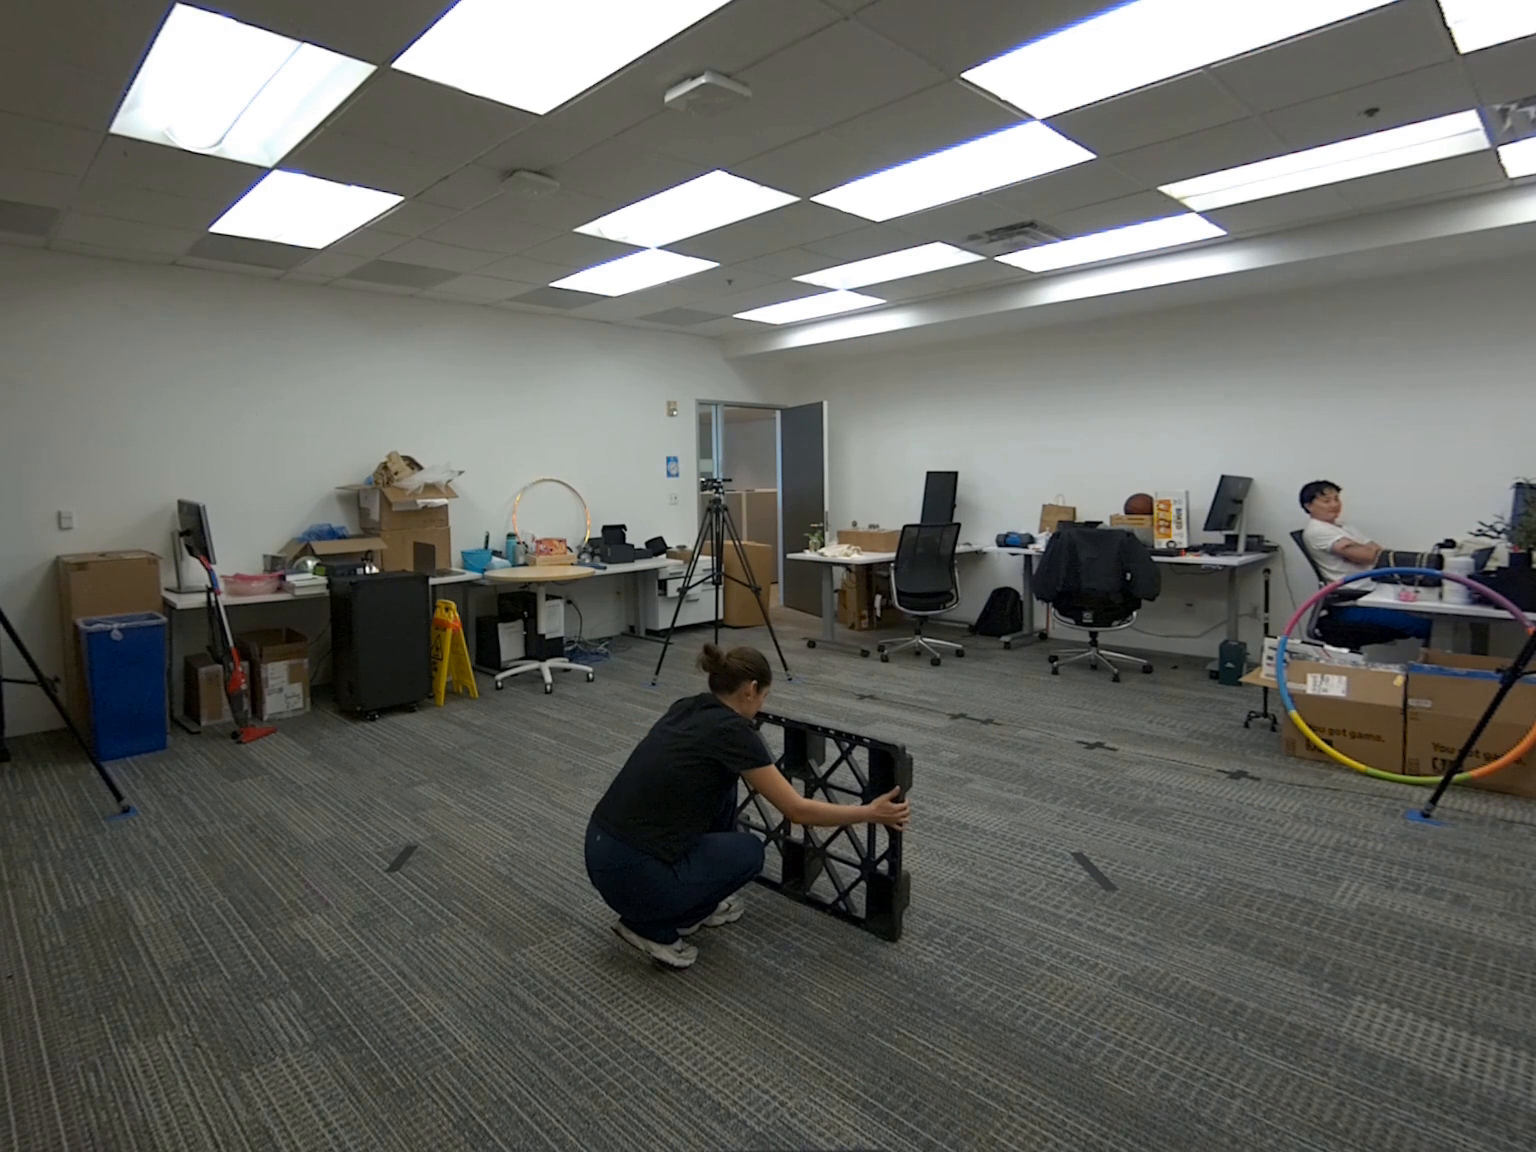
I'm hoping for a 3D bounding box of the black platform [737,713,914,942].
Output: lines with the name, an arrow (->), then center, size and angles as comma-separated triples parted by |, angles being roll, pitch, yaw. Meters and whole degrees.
black platform -> 0.131, 0.770, 2.881 | 0.831, 0.604, 0.139 | 5, 4, 43
